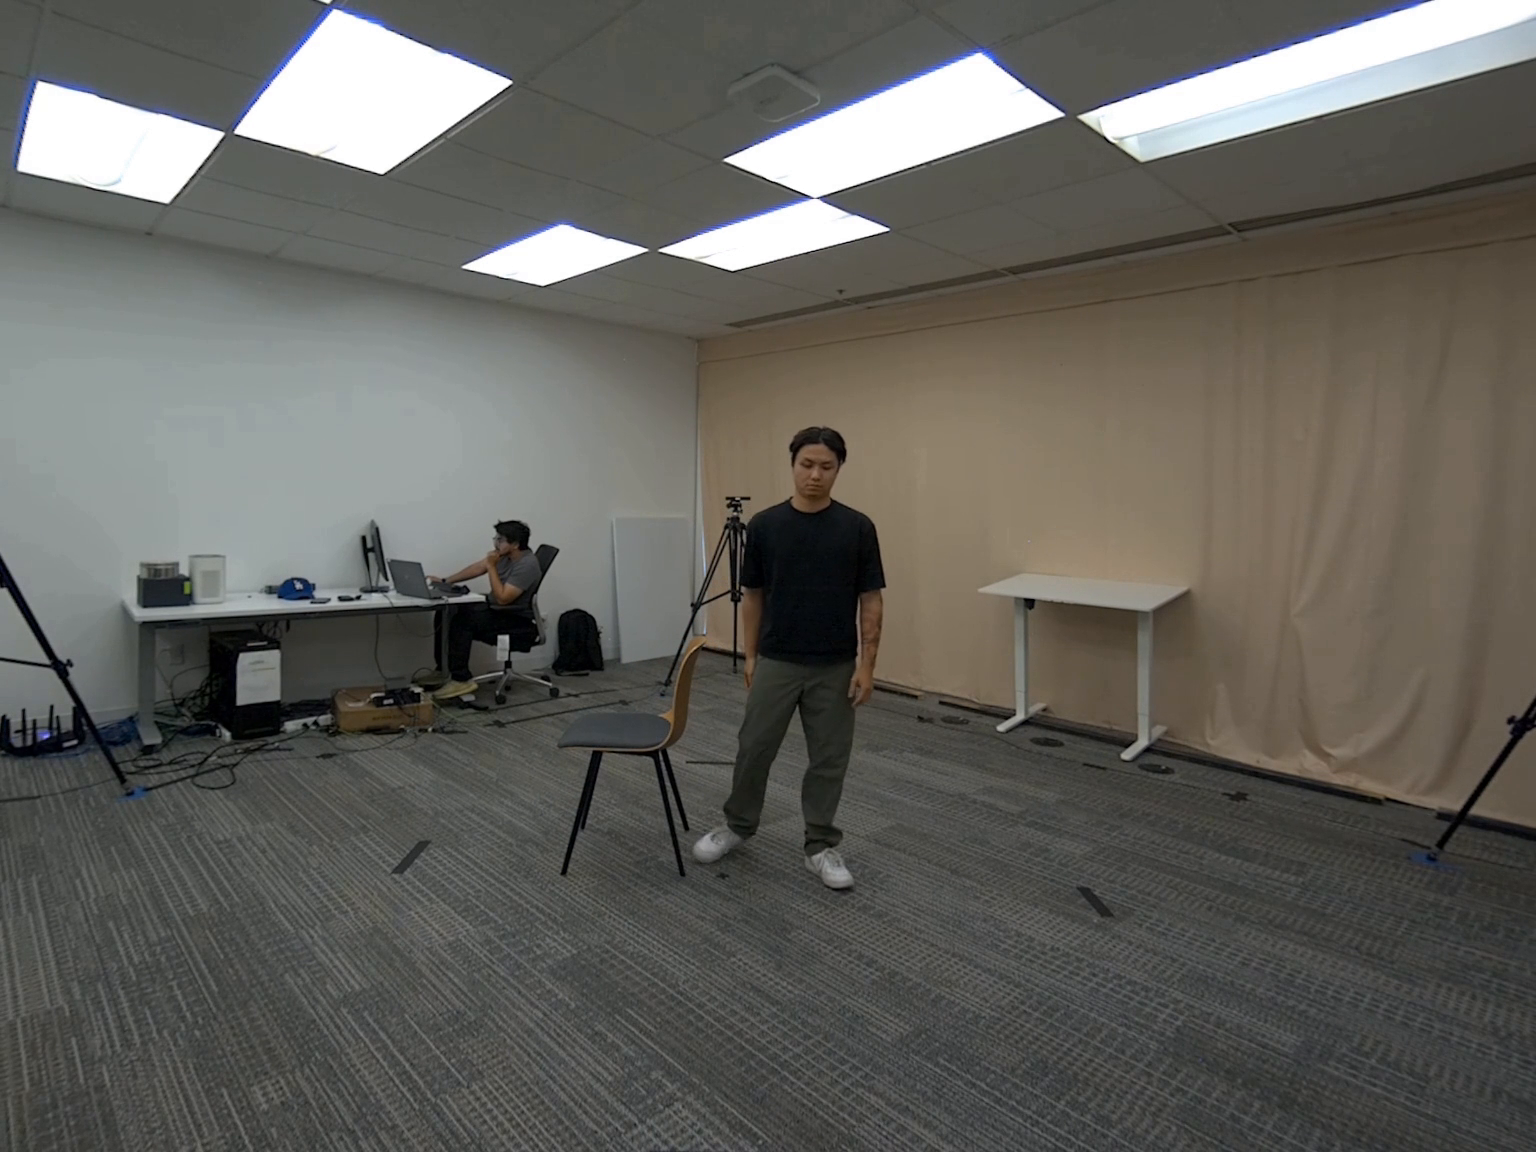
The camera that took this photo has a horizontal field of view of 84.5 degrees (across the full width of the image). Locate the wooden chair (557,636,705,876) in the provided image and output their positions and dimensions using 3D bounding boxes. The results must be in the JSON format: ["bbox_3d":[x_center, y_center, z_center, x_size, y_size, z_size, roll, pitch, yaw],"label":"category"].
[{"bbox_3d":[-0.543,0.653,3.262,0.522,0.875,0.480,5,4,-3],"label":"wooden chair"}]
